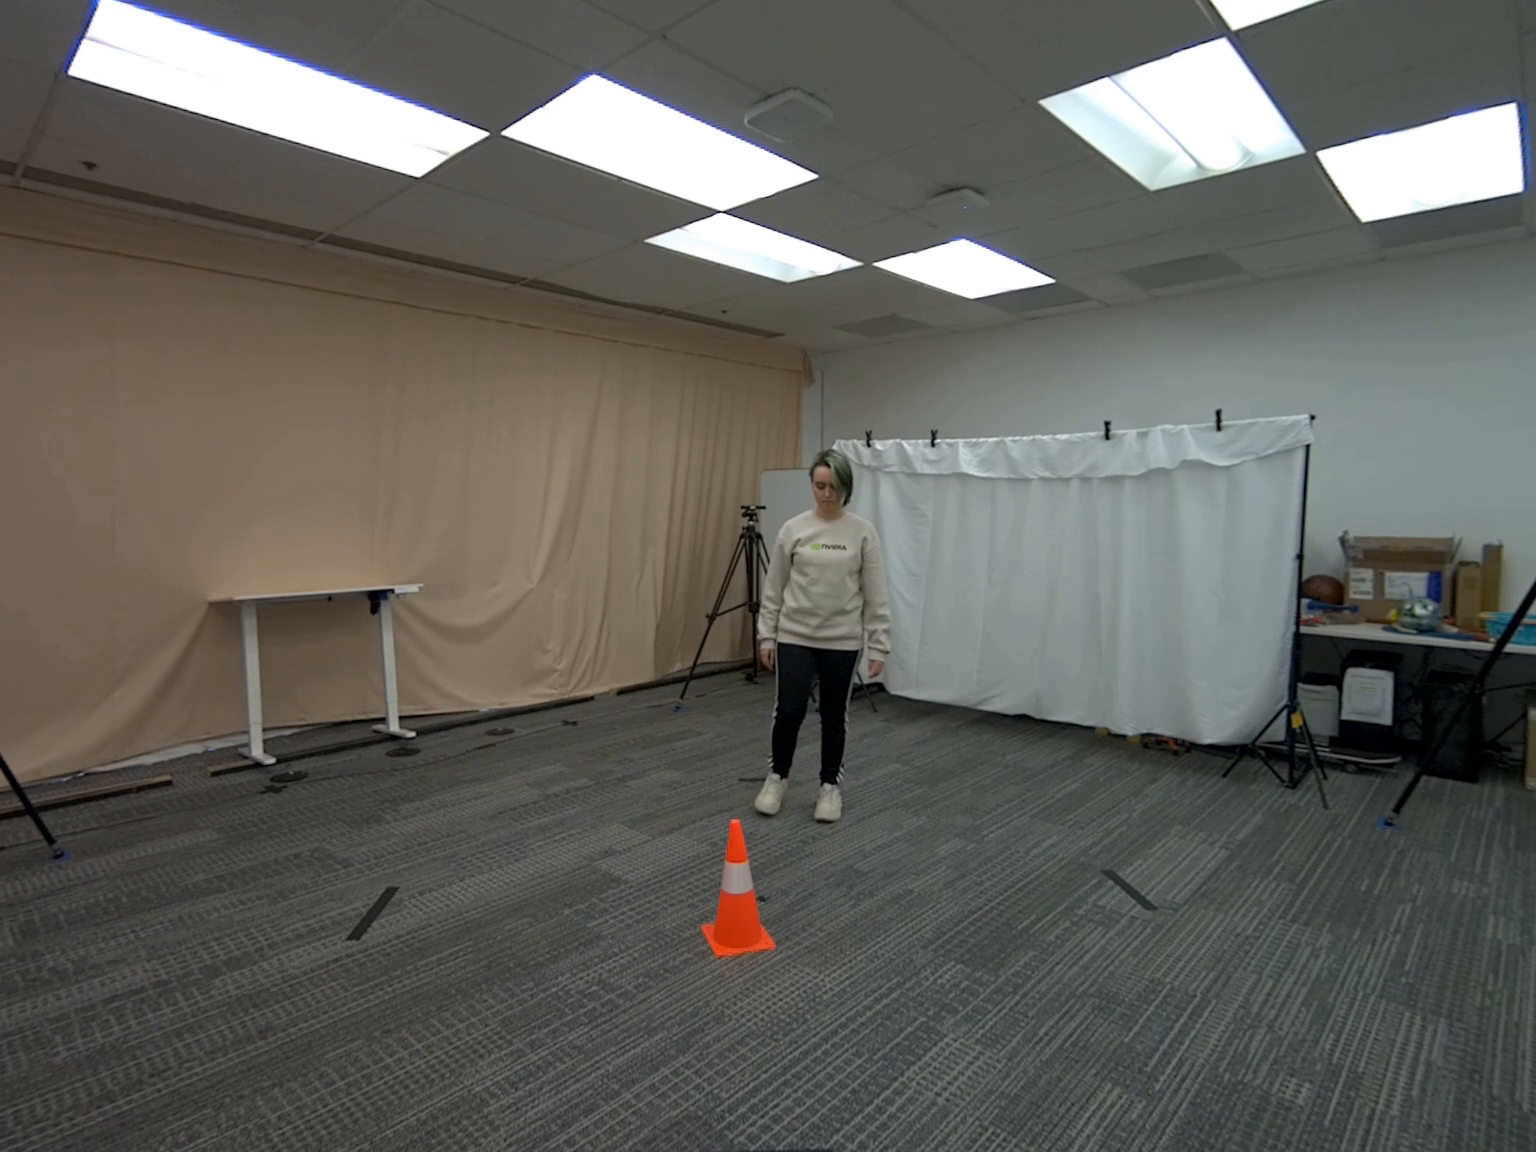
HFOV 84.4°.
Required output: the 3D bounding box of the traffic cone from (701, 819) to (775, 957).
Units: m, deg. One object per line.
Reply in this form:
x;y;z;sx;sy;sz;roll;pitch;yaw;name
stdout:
-0.101;0.983;2.702;0.200;0.382;0.209;-3;5;-17;traffic cone
